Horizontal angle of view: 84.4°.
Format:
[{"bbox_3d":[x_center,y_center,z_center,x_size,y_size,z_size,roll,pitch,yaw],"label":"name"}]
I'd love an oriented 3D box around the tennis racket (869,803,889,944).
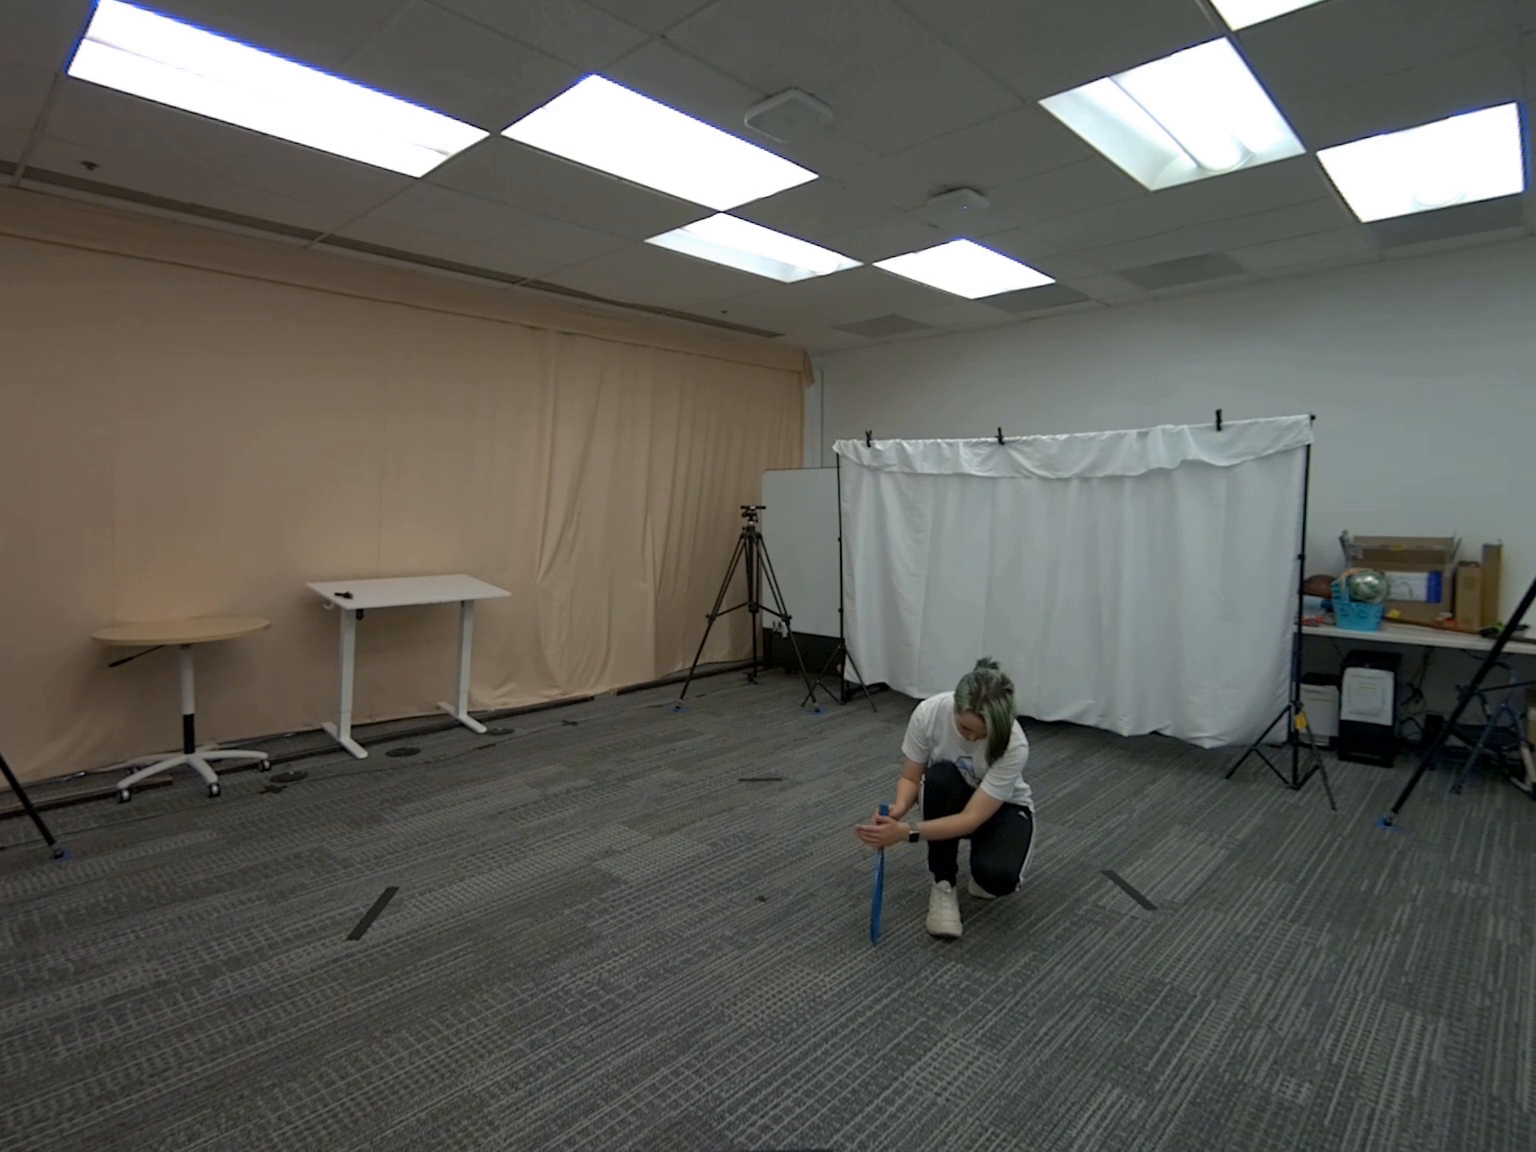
[{"bbox_3d":[0.373,0.958,2.705,0.032,0.434,0.208,2,-5,19],"label":"tennis racket"}]
